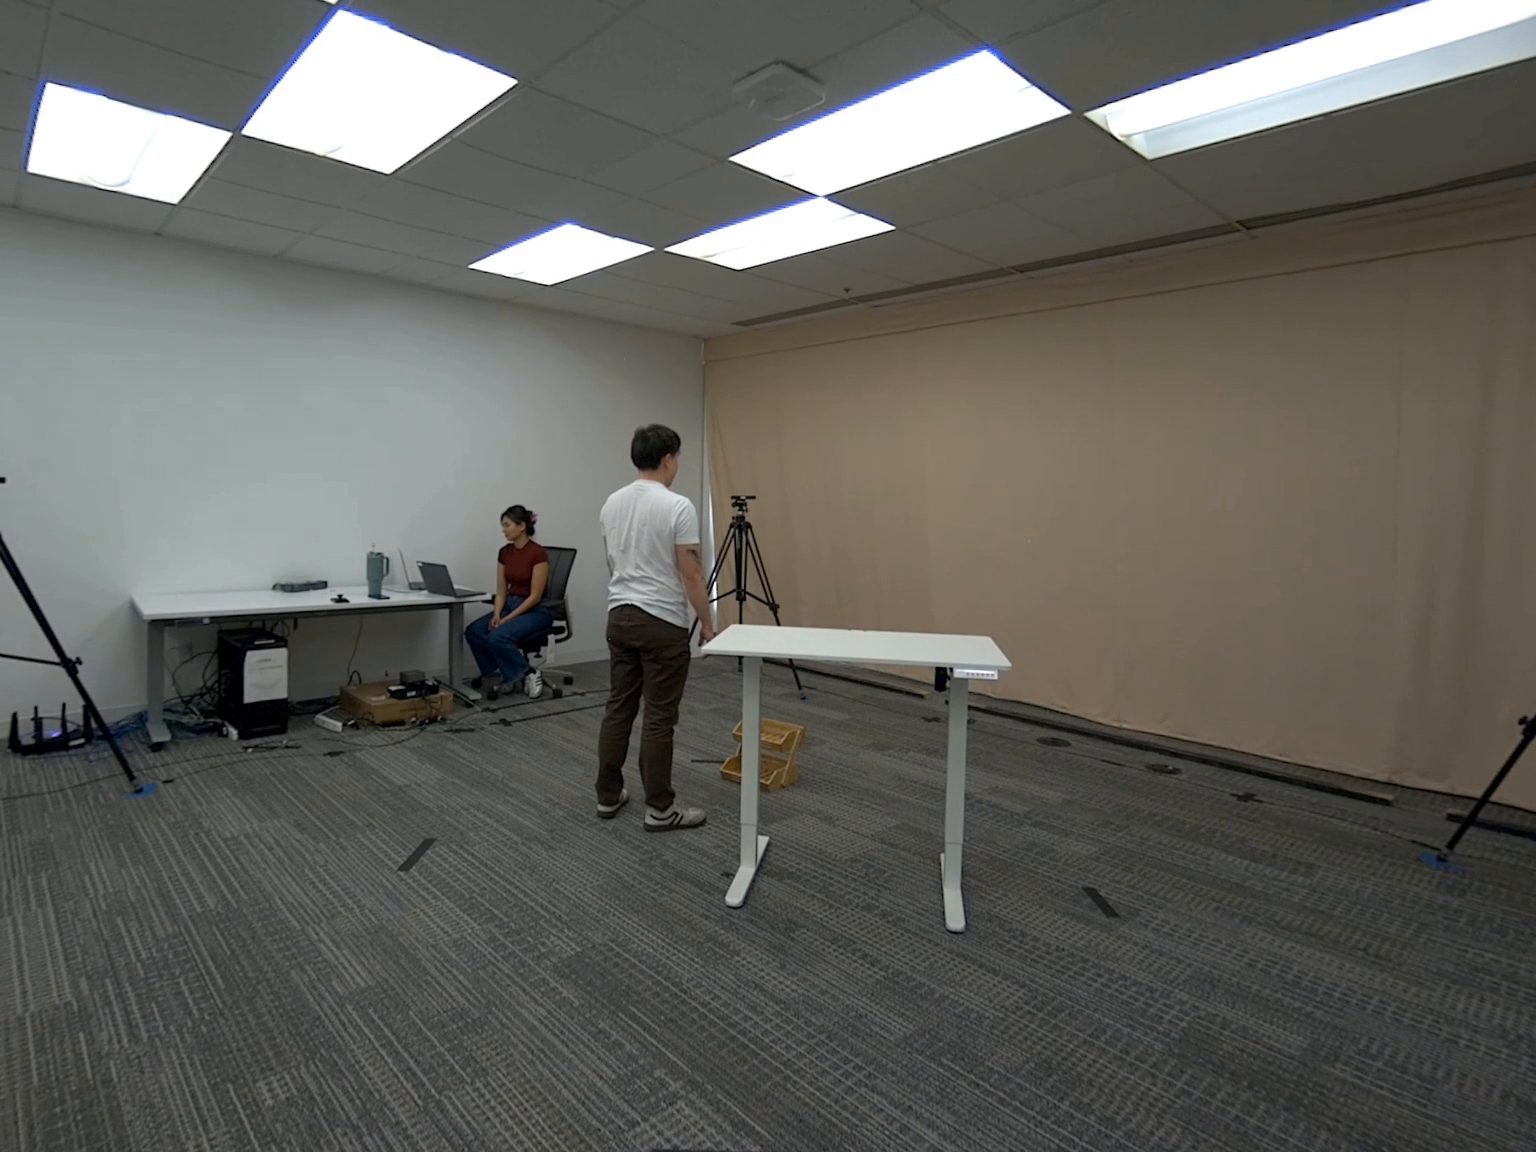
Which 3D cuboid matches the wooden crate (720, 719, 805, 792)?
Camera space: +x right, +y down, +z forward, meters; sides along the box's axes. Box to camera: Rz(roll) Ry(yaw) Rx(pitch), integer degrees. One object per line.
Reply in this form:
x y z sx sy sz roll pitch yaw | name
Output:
-0.039 0.874 4.188 0.332 0.273 0.295 5 4 37 | wooden crate
